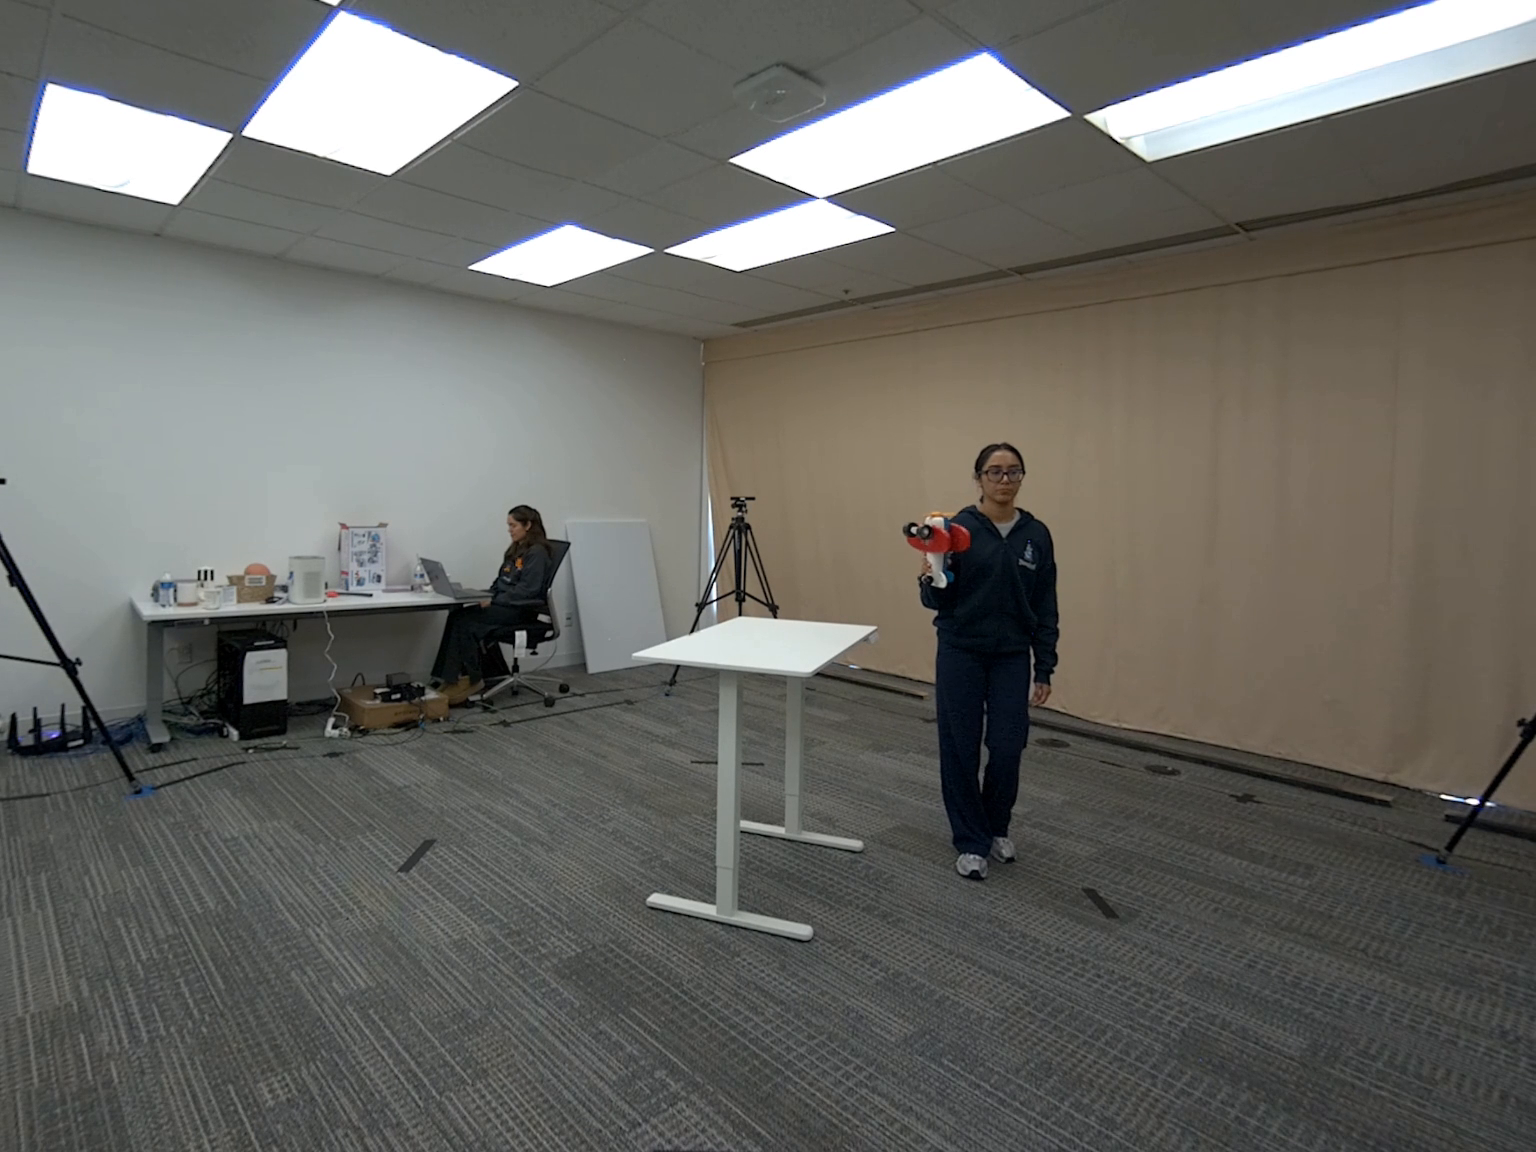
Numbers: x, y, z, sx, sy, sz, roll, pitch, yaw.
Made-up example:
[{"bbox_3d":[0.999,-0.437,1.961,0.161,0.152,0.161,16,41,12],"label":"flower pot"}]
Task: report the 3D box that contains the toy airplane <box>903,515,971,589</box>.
[{"bbox_3d":[0.566,-0.097,2.972,0.155,0.253,0.259,-19,41,-16],"label":"toy airplane"}]
